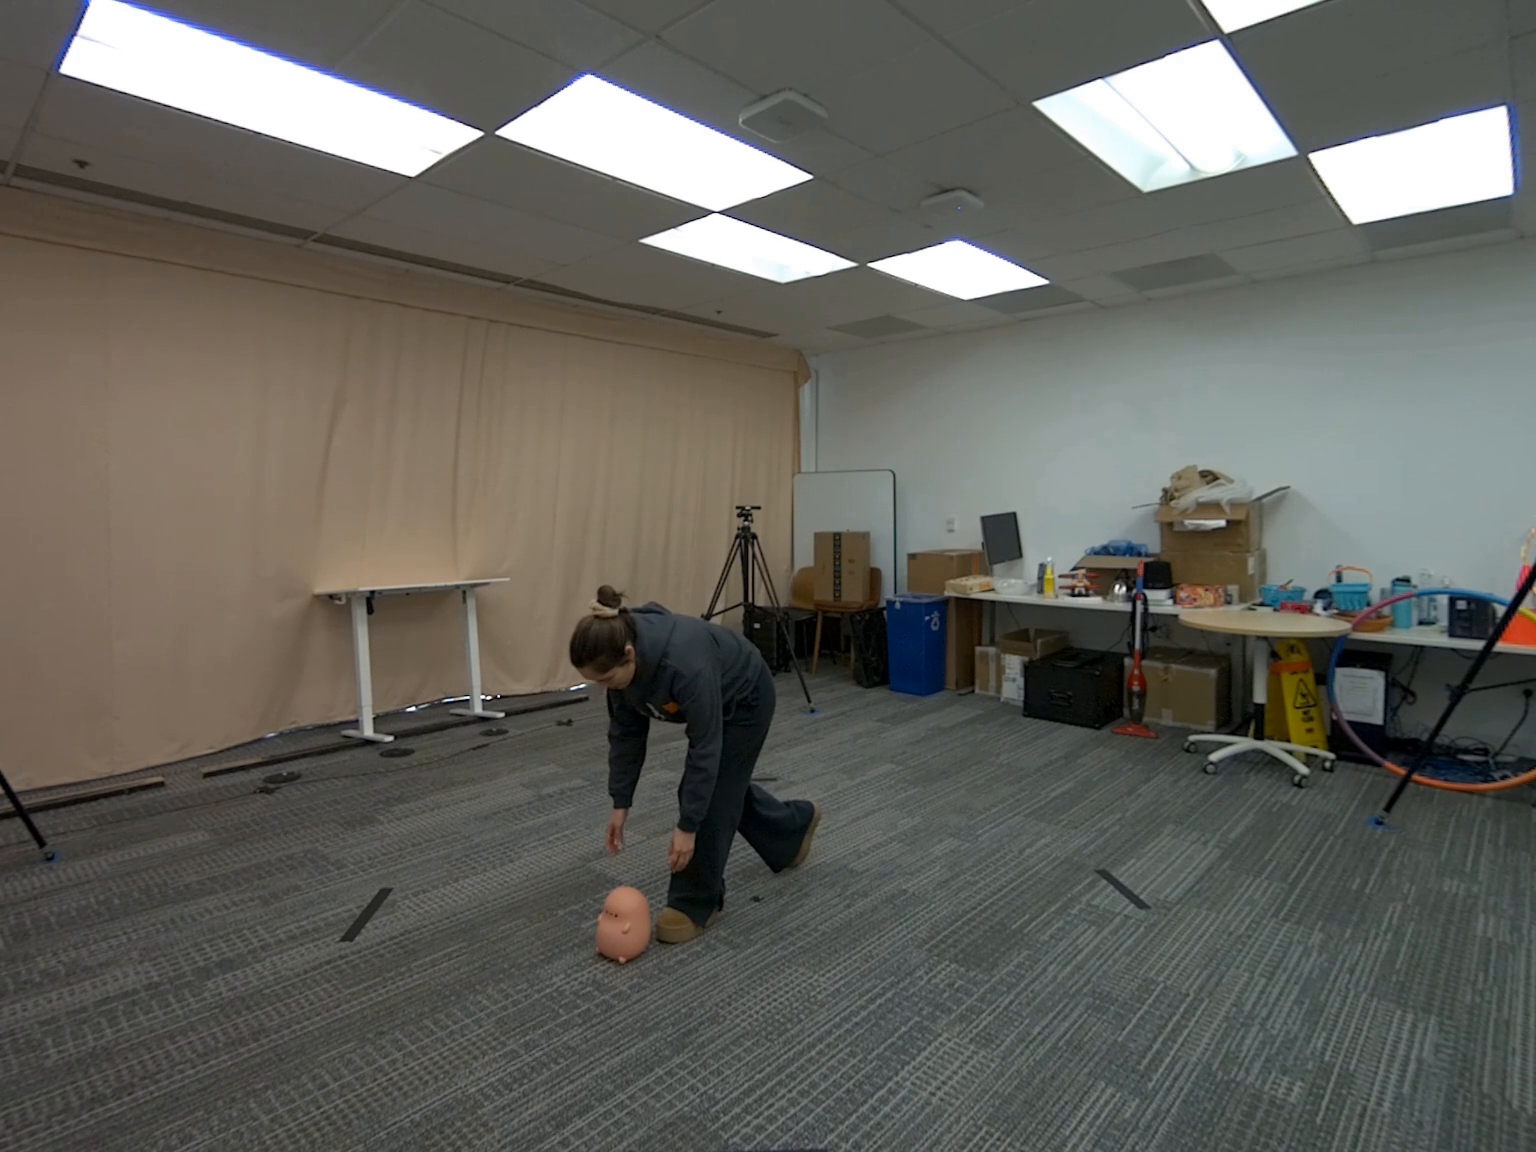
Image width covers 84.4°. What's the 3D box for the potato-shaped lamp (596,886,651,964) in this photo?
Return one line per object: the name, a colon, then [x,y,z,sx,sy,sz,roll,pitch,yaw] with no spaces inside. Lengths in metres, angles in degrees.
potato-shaped lamp: [-0.432,1.079,2.631,0.170,0.198,0.167,5,4,30]
